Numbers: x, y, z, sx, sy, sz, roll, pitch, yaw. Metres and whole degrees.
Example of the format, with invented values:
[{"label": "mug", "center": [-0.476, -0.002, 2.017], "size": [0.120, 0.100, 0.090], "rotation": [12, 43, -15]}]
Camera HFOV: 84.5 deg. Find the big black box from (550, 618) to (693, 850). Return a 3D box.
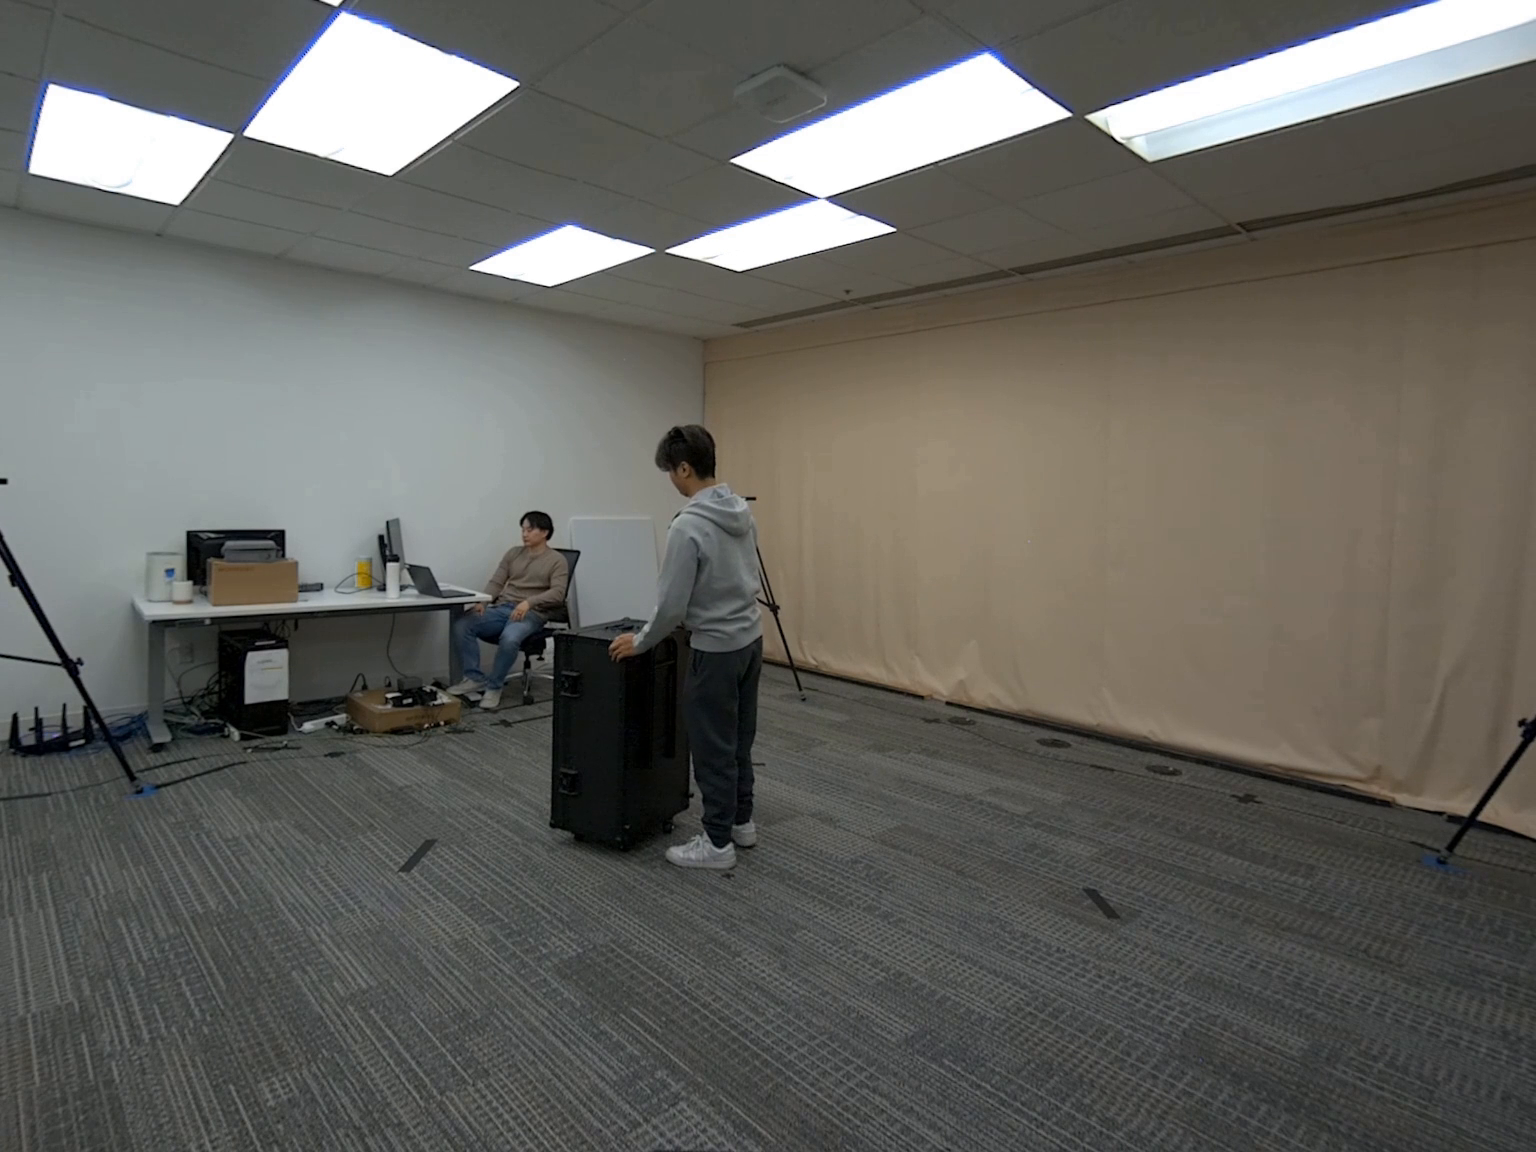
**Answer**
[{"label": "big black box", "center": [-0.588, 0.641, 3.450], "size": [0.405, 0.859, 0.511], "rotation": [4, 4, 28]}]
